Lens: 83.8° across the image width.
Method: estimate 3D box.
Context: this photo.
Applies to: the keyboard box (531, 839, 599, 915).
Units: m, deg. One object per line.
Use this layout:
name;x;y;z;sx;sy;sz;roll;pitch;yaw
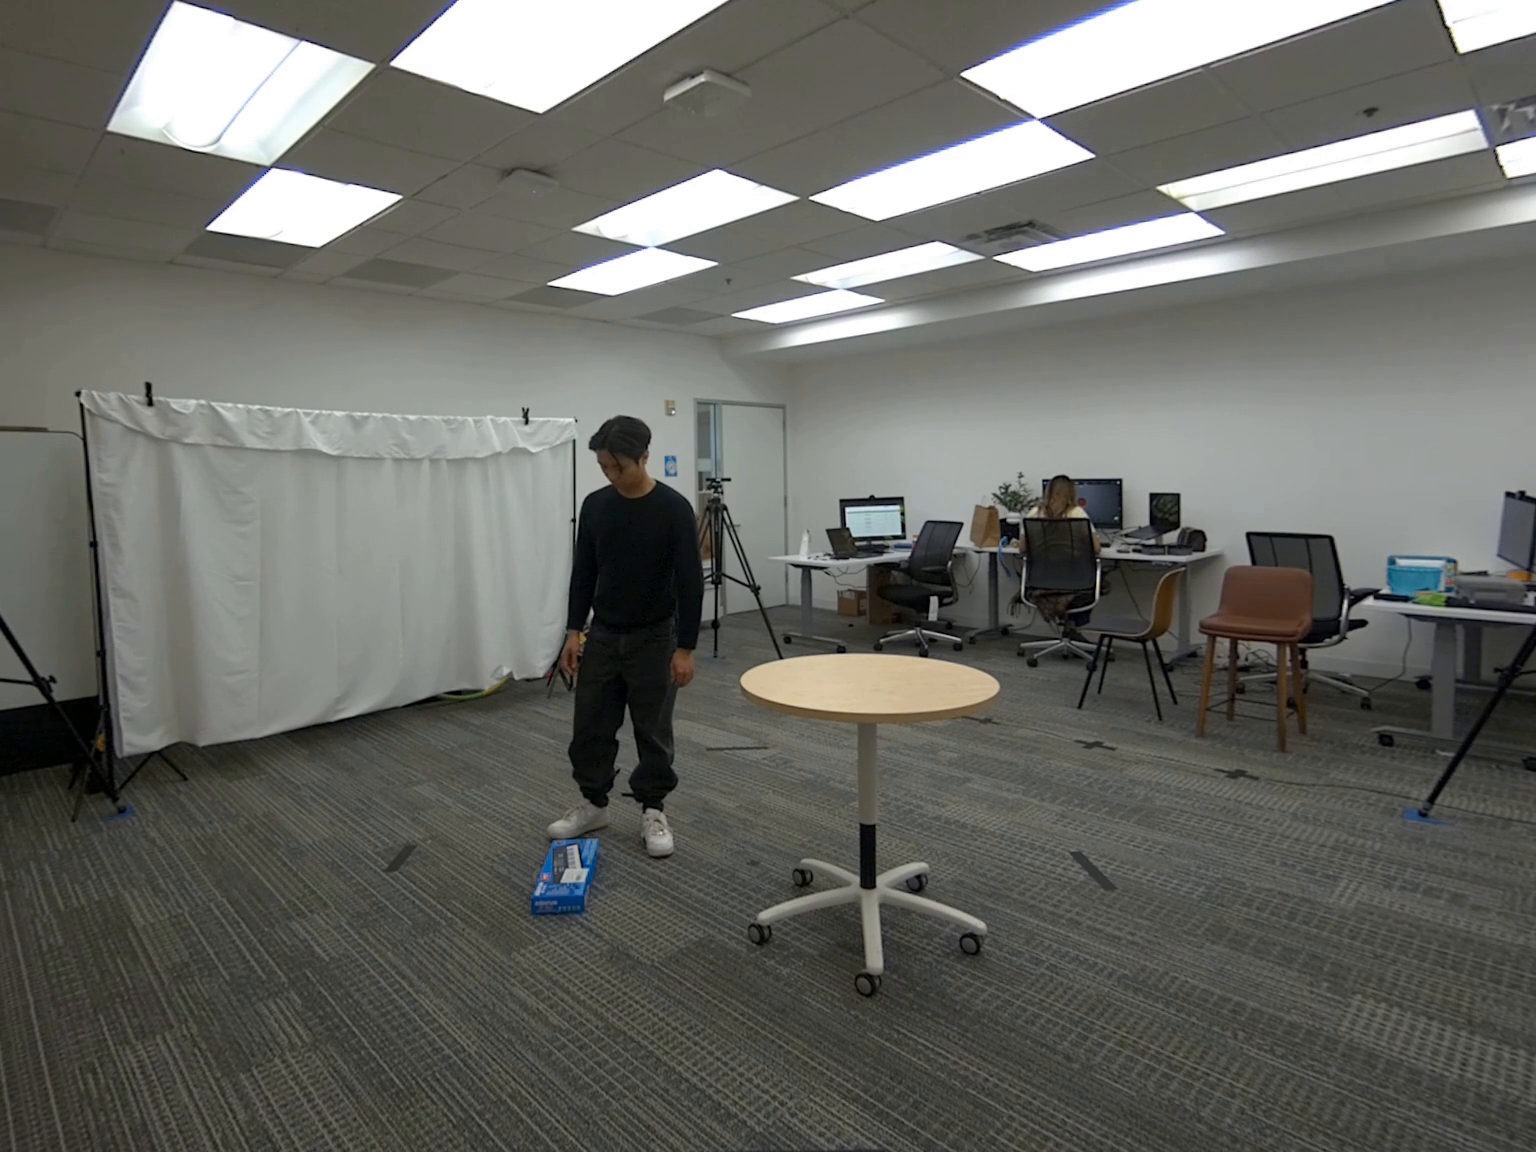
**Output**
keyboard box;-0.695;1.039;2.982;0.175;0.059;0.440;-2;6;-5
